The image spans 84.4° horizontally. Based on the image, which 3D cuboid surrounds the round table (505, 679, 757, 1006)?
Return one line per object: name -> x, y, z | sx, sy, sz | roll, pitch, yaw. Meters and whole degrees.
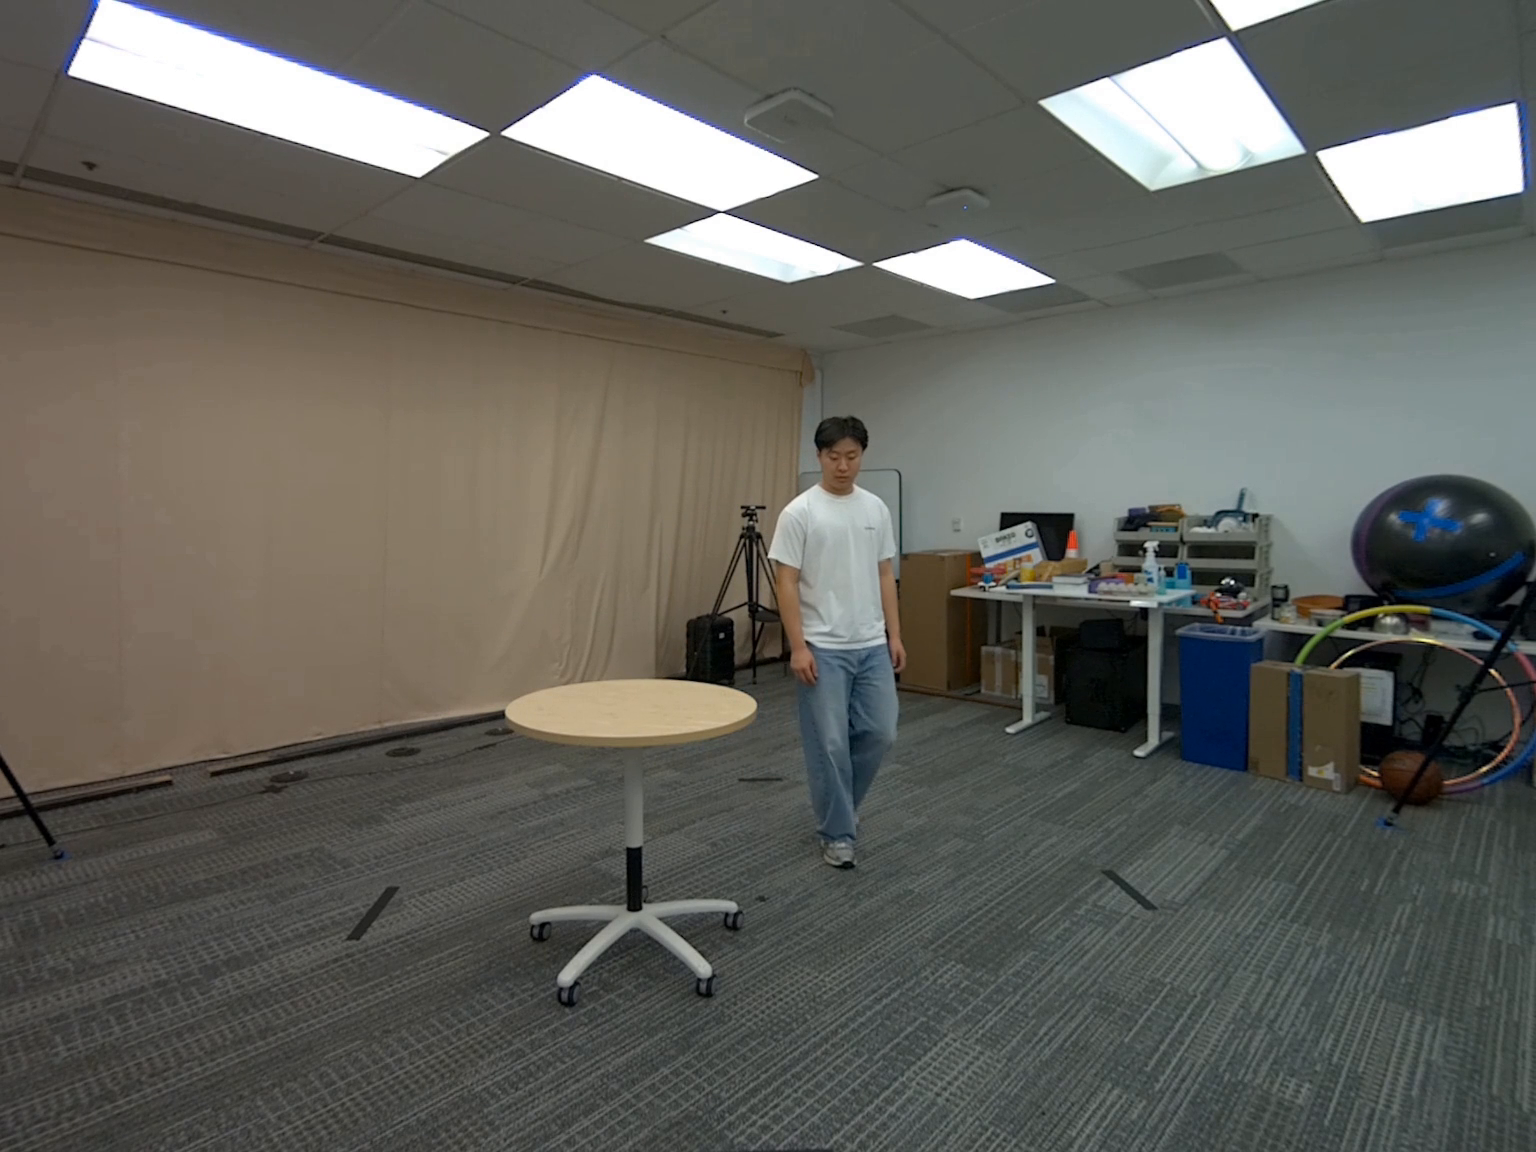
round table -> -0.407, 0.789, 2.610 | 0.763, 0.792, 0.766 | 0, 4, -2
